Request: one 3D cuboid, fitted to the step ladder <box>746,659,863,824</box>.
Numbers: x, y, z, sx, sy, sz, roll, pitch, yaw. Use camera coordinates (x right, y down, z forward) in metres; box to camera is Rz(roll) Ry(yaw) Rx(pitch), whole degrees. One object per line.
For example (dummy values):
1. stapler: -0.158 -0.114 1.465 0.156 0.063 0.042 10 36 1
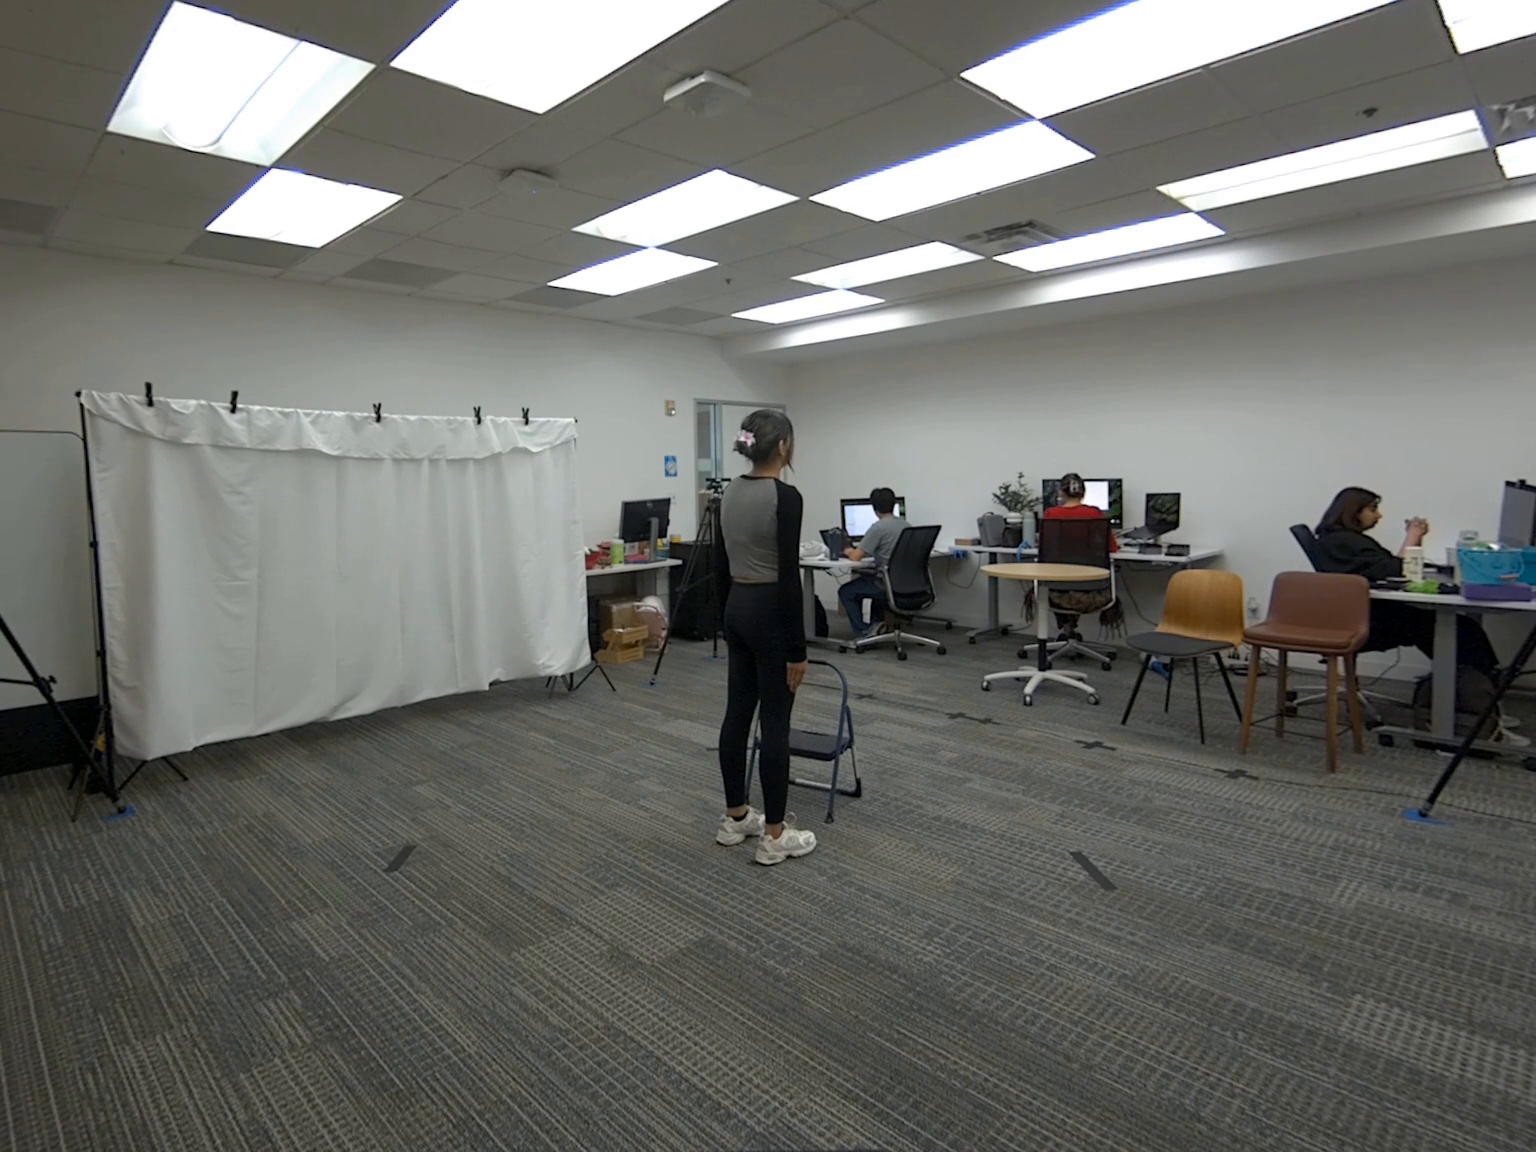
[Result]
1. step ladder: 0.152 0.671 3.684 0.442 0.604 0.341 3 5 31
